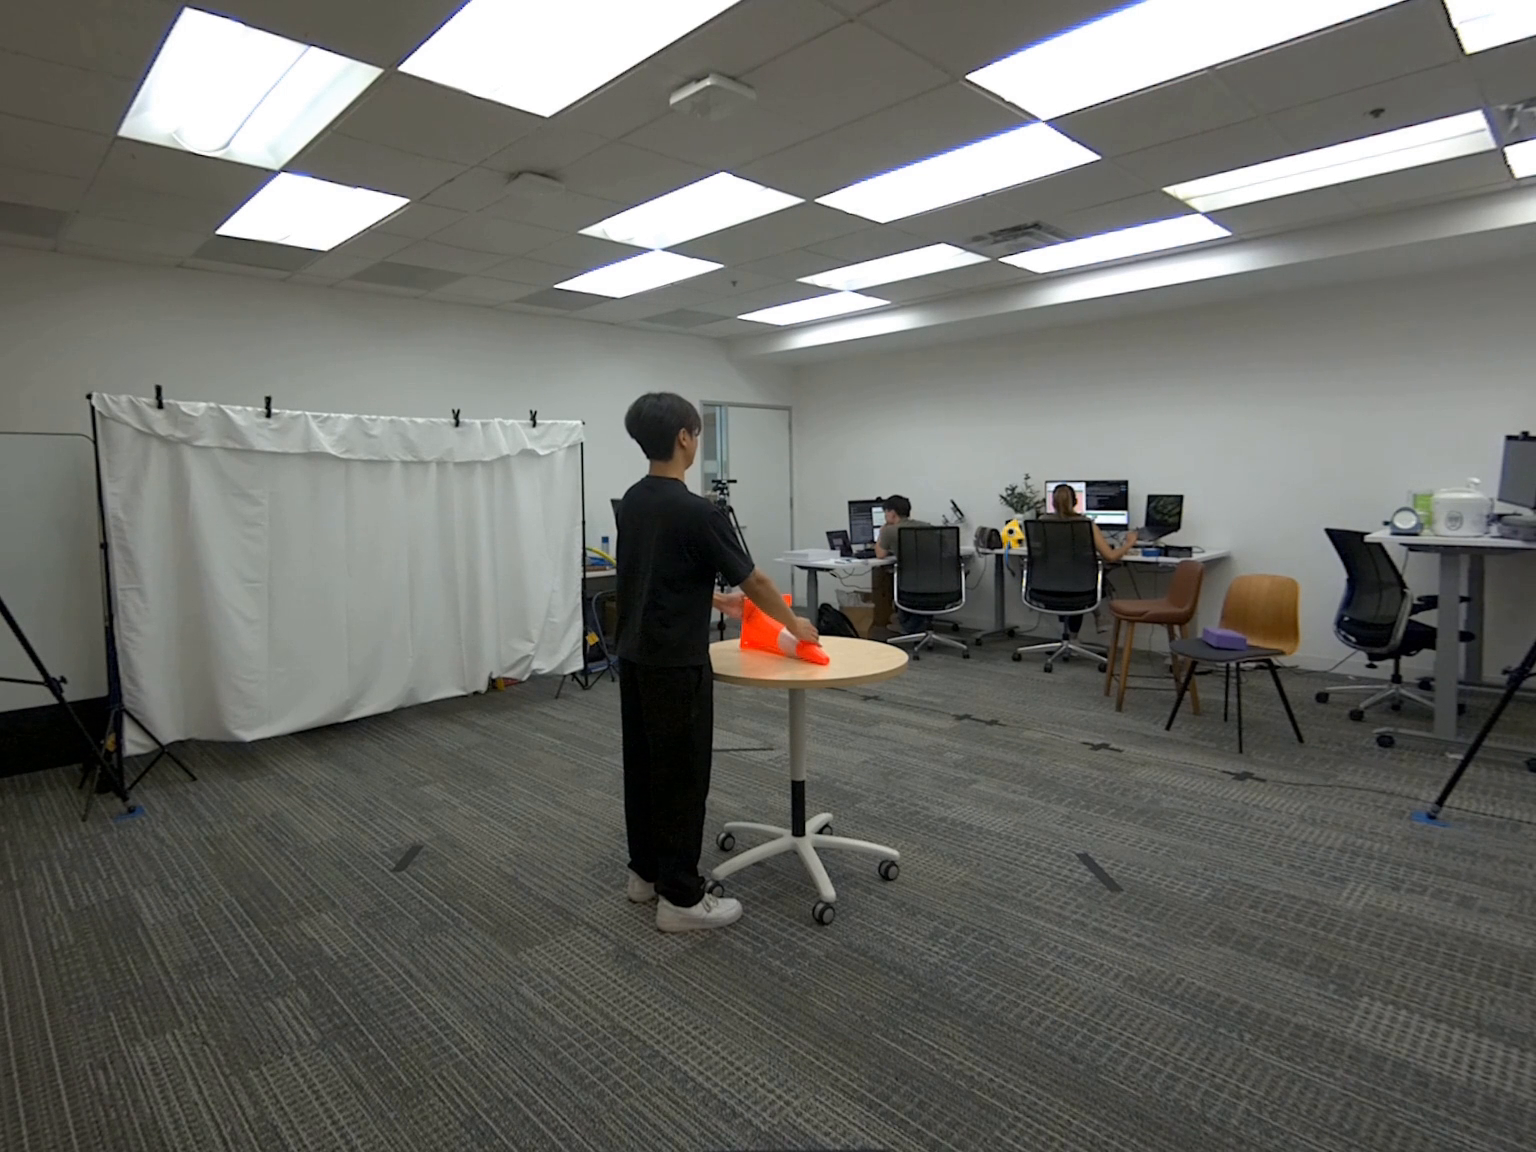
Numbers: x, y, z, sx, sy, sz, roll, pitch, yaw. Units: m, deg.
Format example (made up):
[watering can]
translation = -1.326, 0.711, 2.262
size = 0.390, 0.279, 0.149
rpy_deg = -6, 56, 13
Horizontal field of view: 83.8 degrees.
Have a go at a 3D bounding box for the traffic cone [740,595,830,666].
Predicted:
[traffic cone]
translation = 0.094, 0.226, 2.956
size = 0.198, 0.202, 0.397
rpy_deg = -5, 18, -31
